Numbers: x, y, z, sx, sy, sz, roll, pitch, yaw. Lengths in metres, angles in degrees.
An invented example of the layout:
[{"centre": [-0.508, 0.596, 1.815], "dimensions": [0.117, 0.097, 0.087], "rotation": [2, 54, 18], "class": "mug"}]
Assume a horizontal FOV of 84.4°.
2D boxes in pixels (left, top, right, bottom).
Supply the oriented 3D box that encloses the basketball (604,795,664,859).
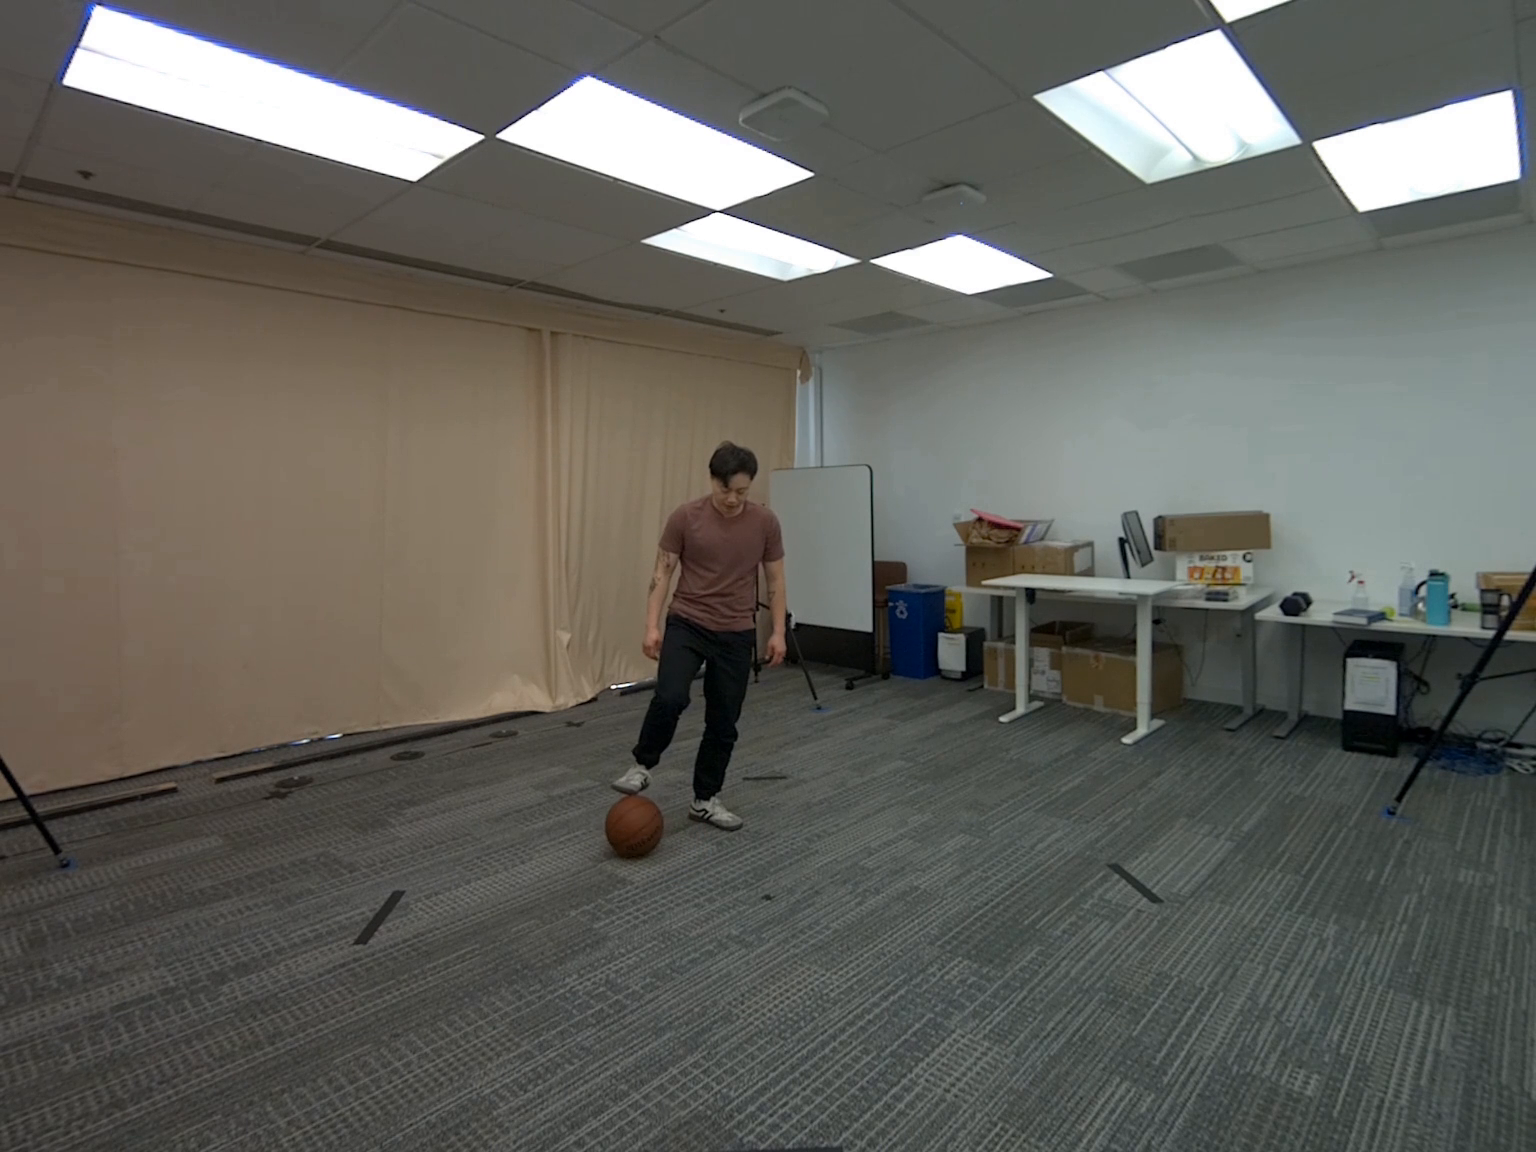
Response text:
[{"centre": [-0.527, 1.000, 3.381], "dimensions": [0.236, 0.235, 0.237], "rotation": [-1, 4, -2], "class": "basketball"}]
